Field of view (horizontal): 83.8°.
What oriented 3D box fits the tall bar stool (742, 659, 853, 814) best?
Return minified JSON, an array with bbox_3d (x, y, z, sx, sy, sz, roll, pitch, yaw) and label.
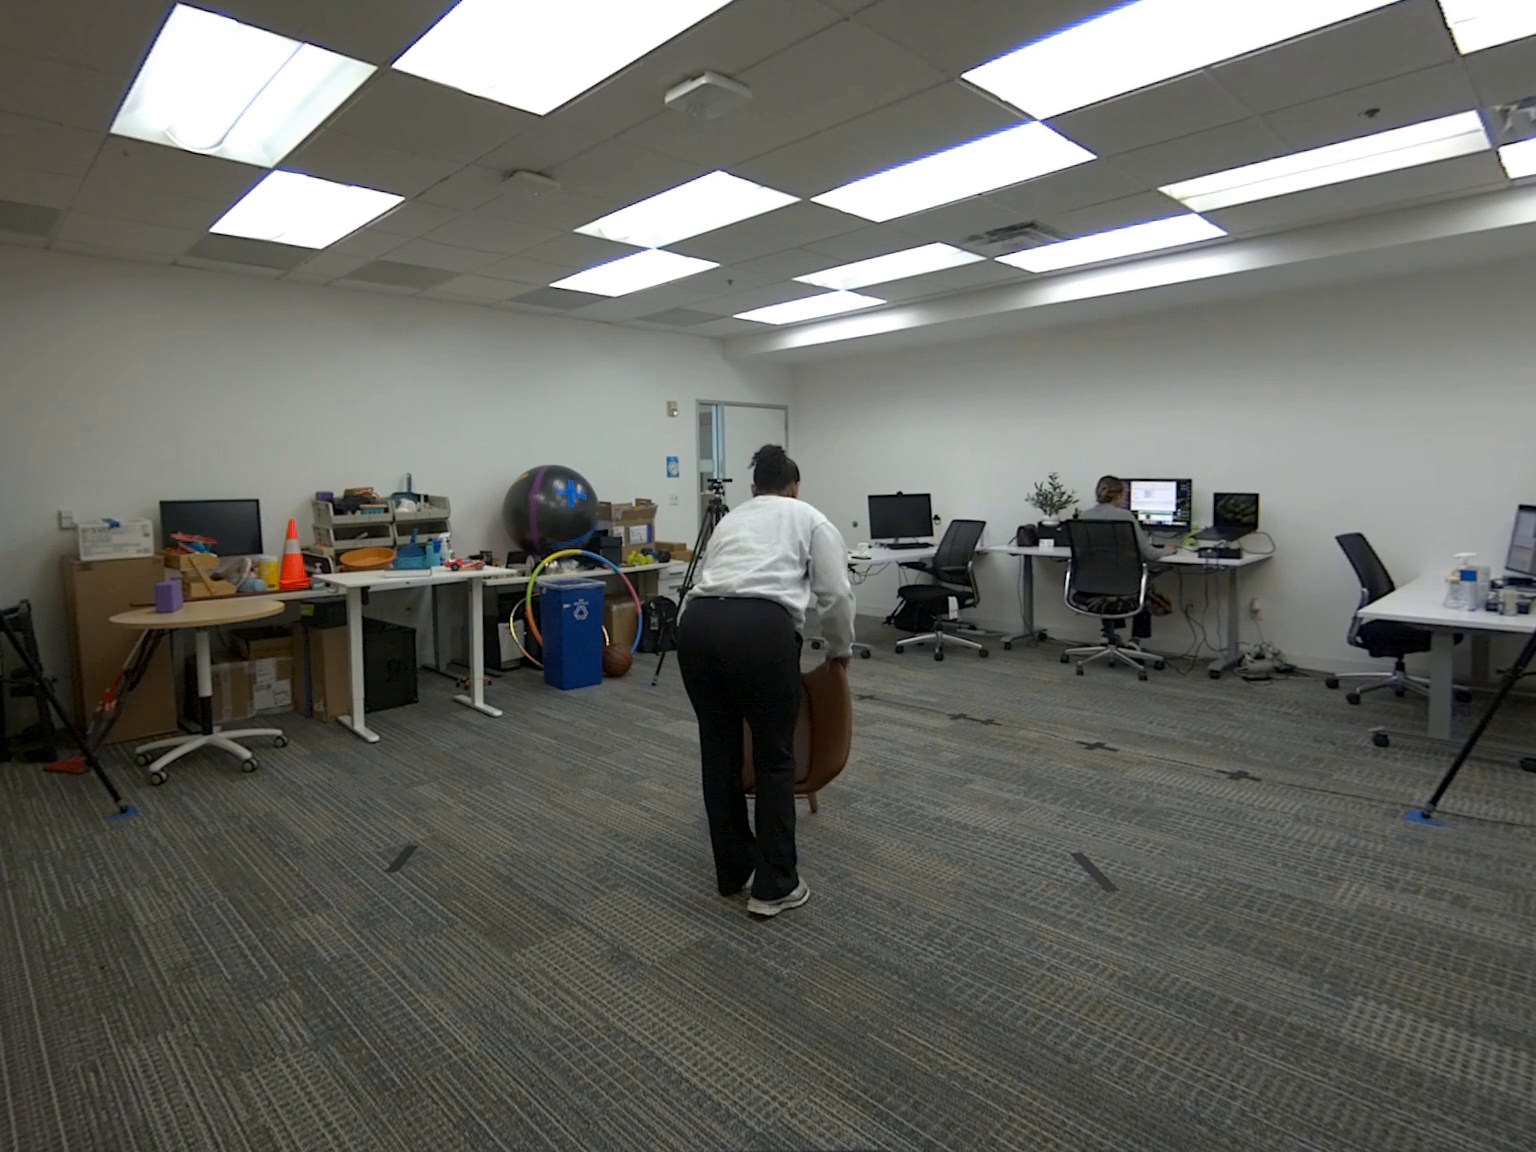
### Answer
[{"bbox_3d":[0.019,0.645,3.280,0.467,0.466,0.874,4,-24,-3],"label":"tall bar stool"}]
